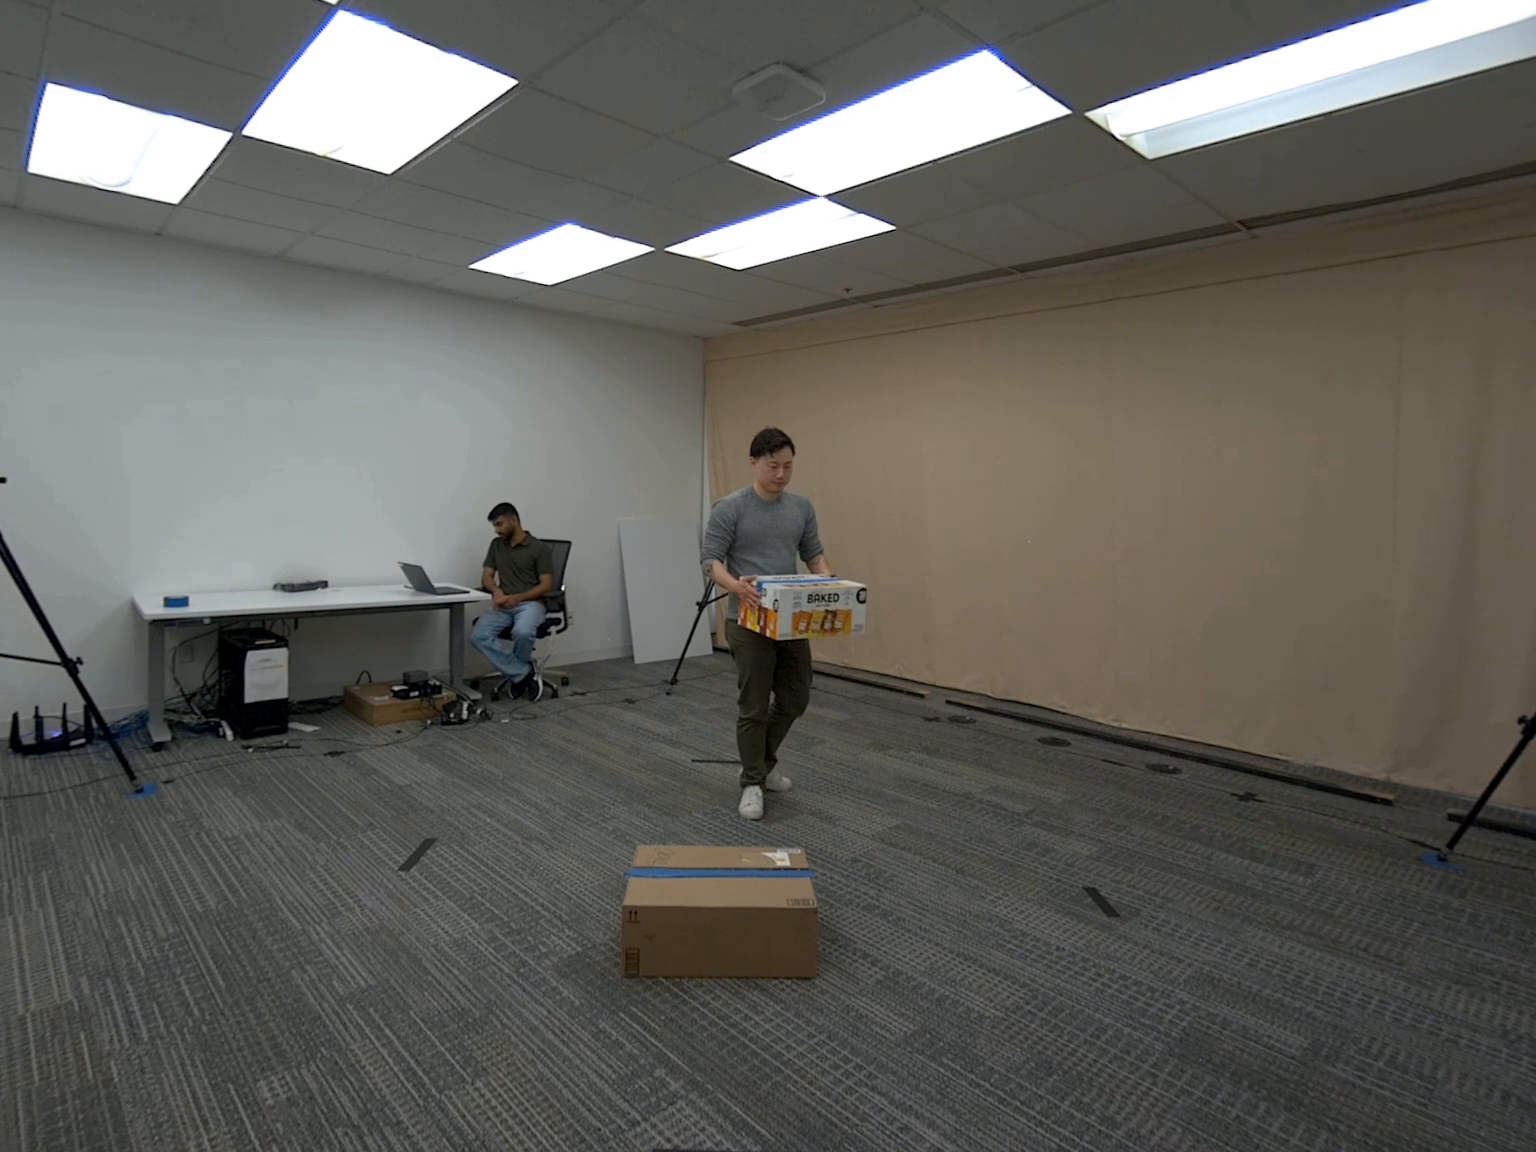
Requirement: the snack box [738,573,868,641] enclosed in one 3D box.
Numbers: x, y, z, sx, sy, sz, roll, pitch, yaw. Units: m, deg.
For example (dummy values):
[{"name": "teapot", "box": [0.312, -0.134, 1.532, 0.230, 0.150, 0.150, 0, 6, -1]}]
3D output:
[{"name": "snack box", "box": [0.130, 0.120, 3.440, 0.397, 0.205, 0.348, -2, 8, -28]}]
